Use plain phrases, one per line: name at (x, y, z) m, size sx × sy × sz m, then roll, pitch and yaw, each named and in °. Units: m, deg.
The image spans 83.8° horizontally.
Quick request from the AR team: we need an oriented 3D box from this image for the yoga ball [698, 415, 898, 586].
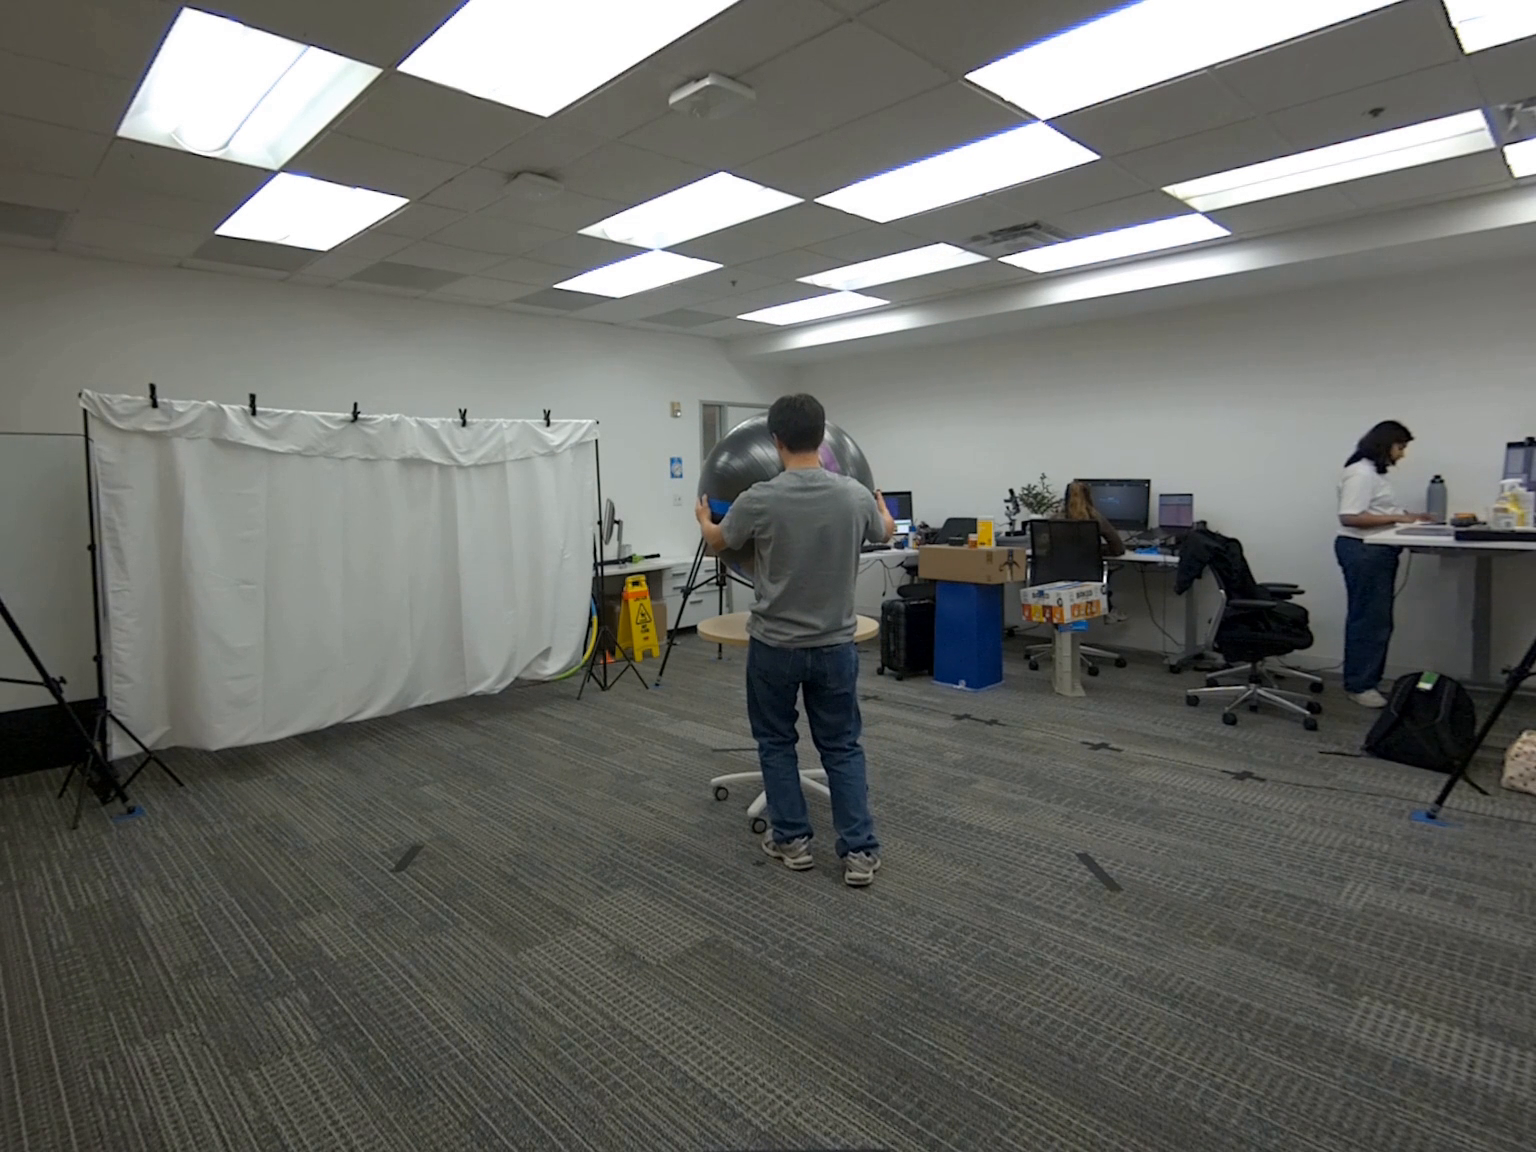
yoga ball at (0.075, -0.325, 3.652) m, size 0.757 × 0.755 × 0.762 m, roll -1°, pitch 5°, yaw -2°
